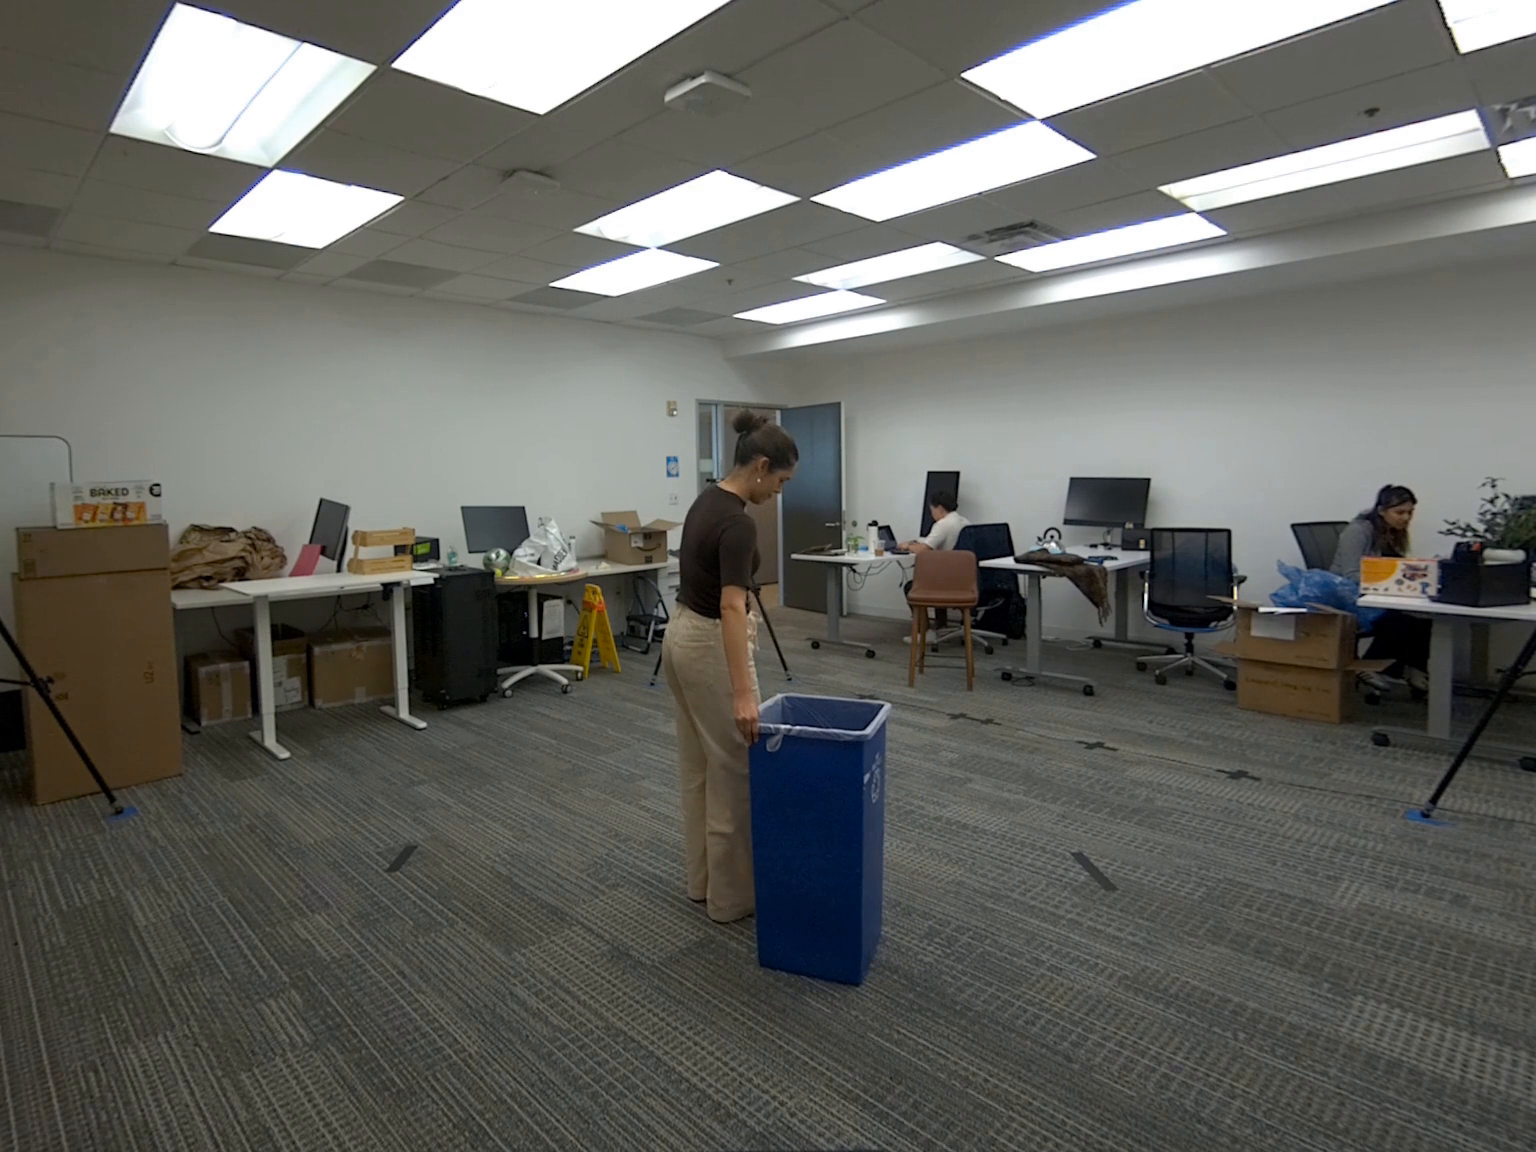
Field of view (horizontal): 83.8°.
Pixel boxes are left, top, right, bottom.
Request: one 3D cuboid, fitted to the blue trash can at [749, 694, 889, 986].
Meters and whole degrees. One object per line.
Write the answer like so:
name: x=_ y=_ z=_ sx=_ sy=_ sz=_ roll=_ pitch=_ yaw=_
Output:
blue trash can: x=0.167 y=0.753 z=2.513 sx=0.381 sy=0.712 sz=0.372 roll=-1 pitch=3 yaw=20
